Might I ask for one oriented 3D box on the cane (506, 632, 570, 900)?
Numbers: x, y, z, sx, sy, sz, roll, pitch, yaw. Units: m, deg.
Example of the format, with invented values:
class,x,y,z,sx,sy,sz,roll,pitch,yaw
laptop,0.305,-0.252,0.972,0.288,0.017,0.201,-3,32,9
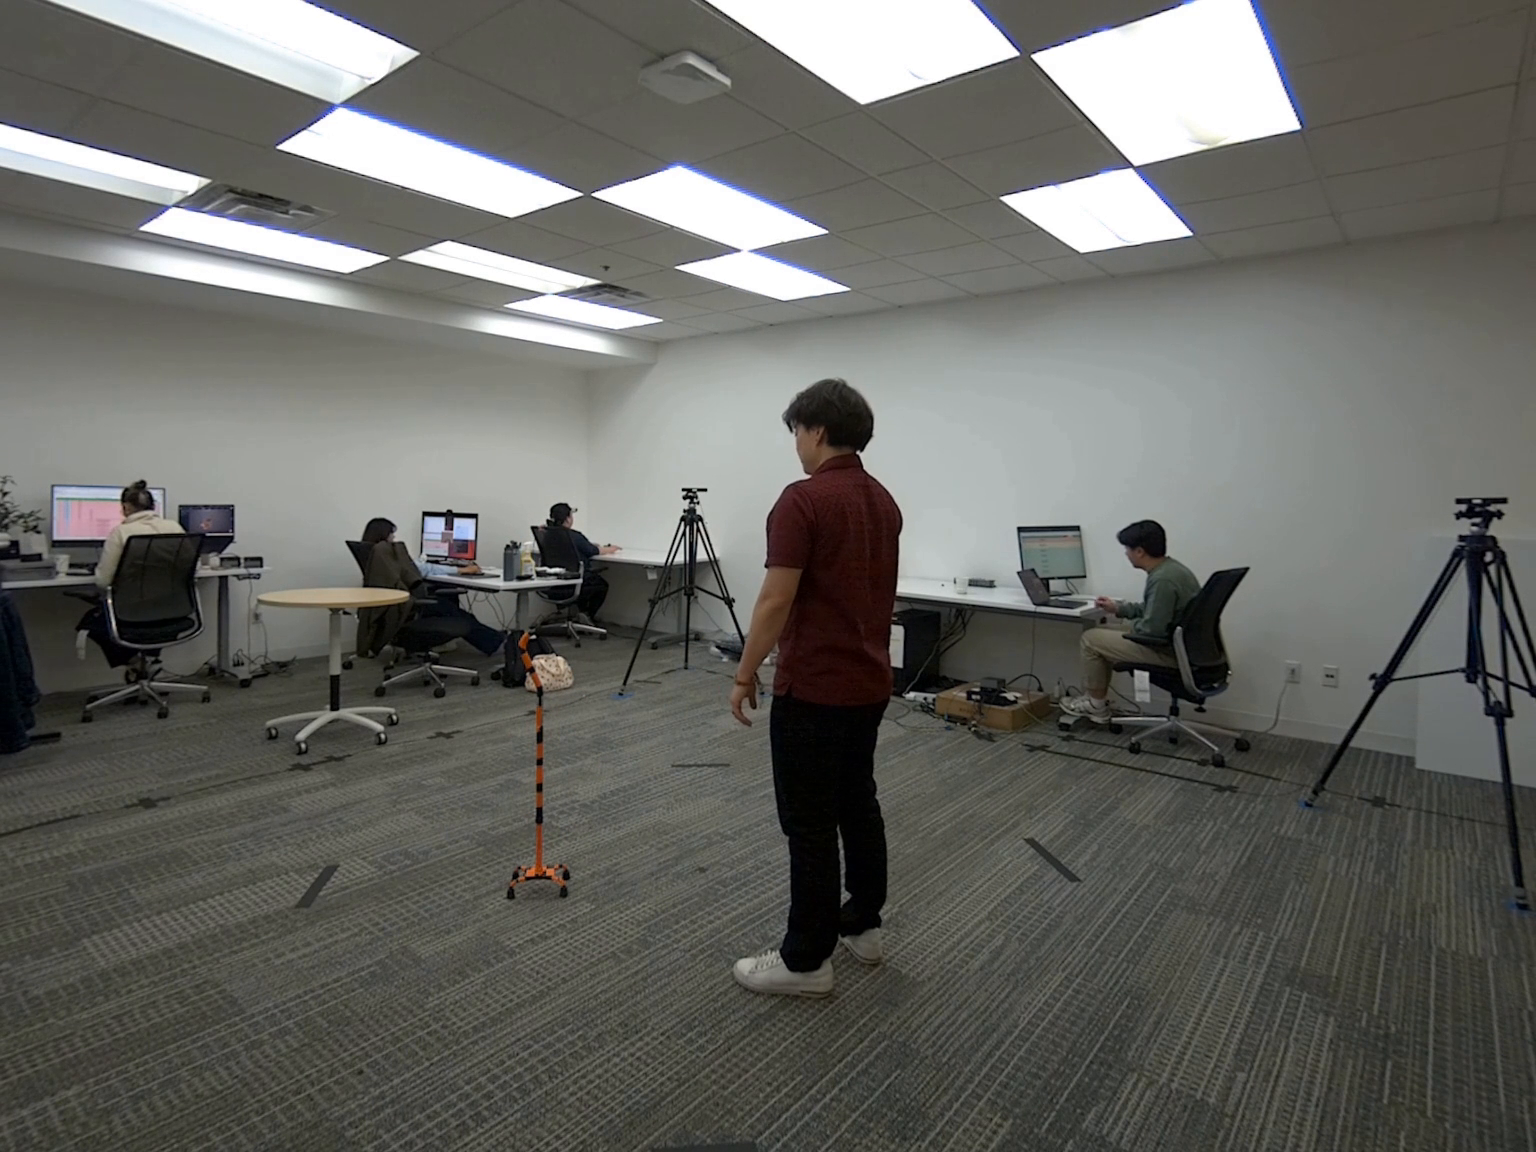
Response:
class,x,y,z,sx,sy,sz,roll,pitch,yaw
cane,-0.798,0.630,2.914,0.205,0.905,0.153,0,3,-8
